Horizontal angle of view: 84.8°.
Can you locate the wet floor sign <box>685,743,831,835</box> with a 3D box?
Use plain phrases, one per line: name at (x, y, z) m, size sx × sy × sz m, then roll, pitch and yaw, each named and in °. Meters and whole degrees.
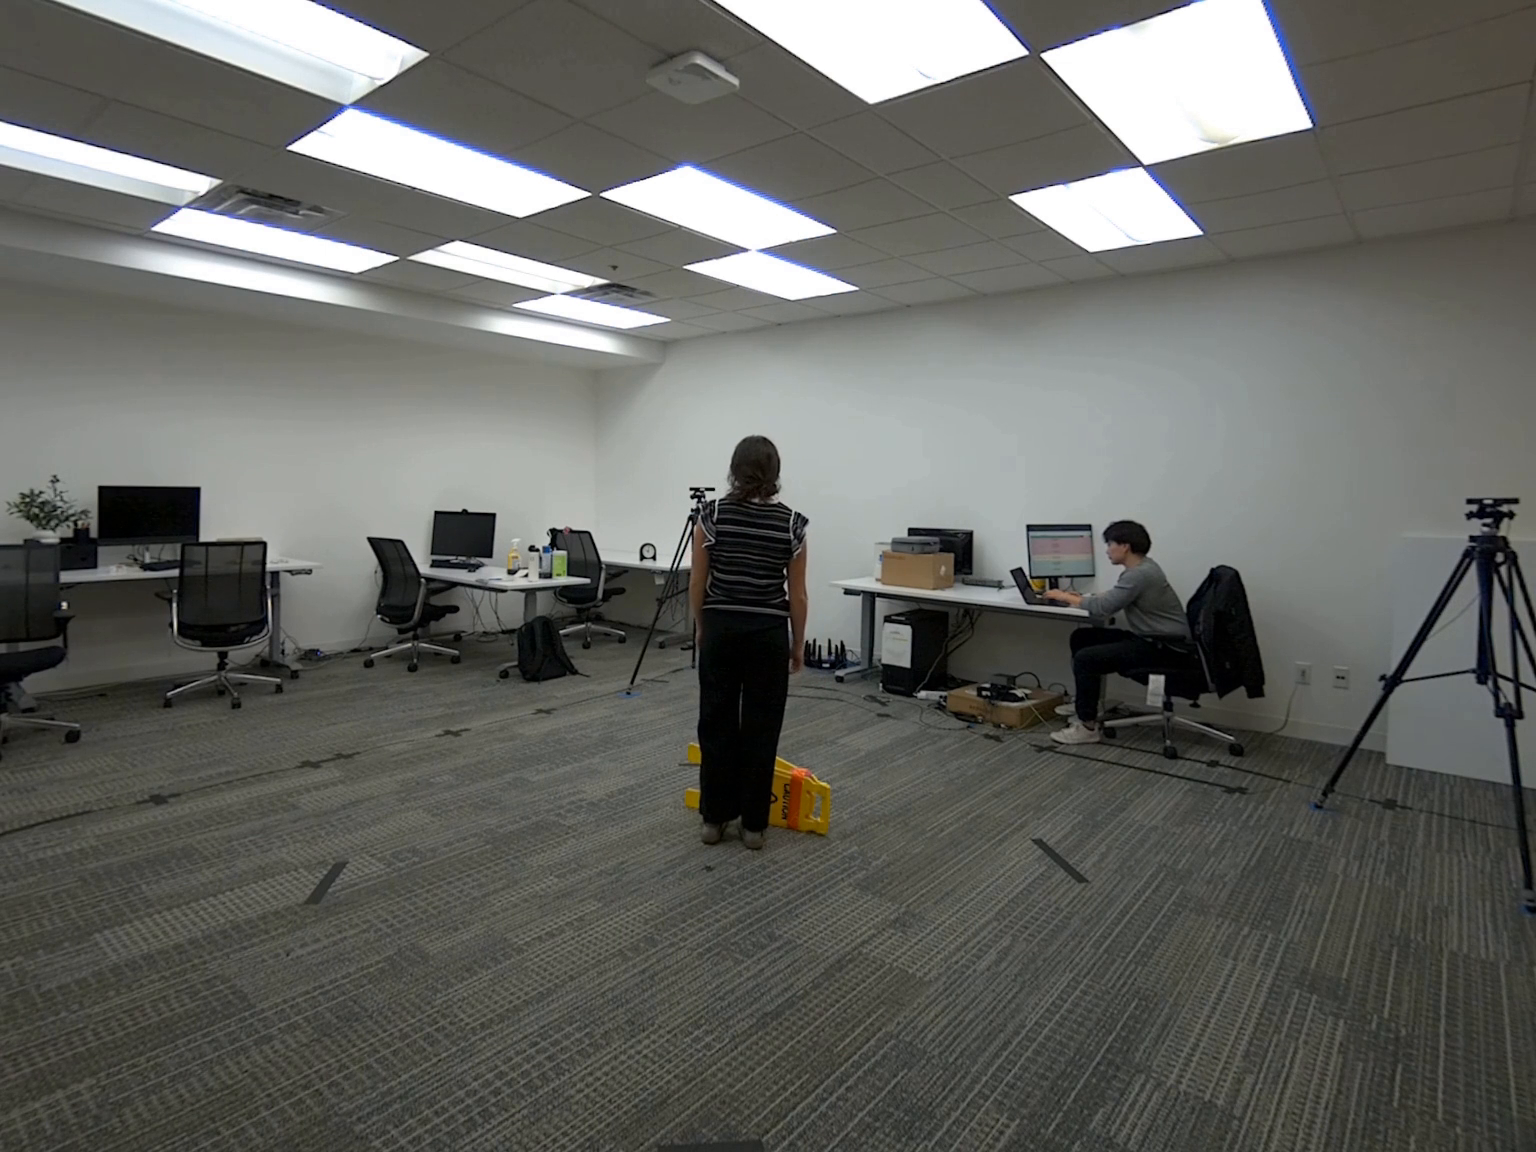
wet floor sign at (-0.030, 0.895, 3.619) m, size 0.668 × 0.281 × 0.281 m, roll 8°, pitch 6°, yaw 36°
